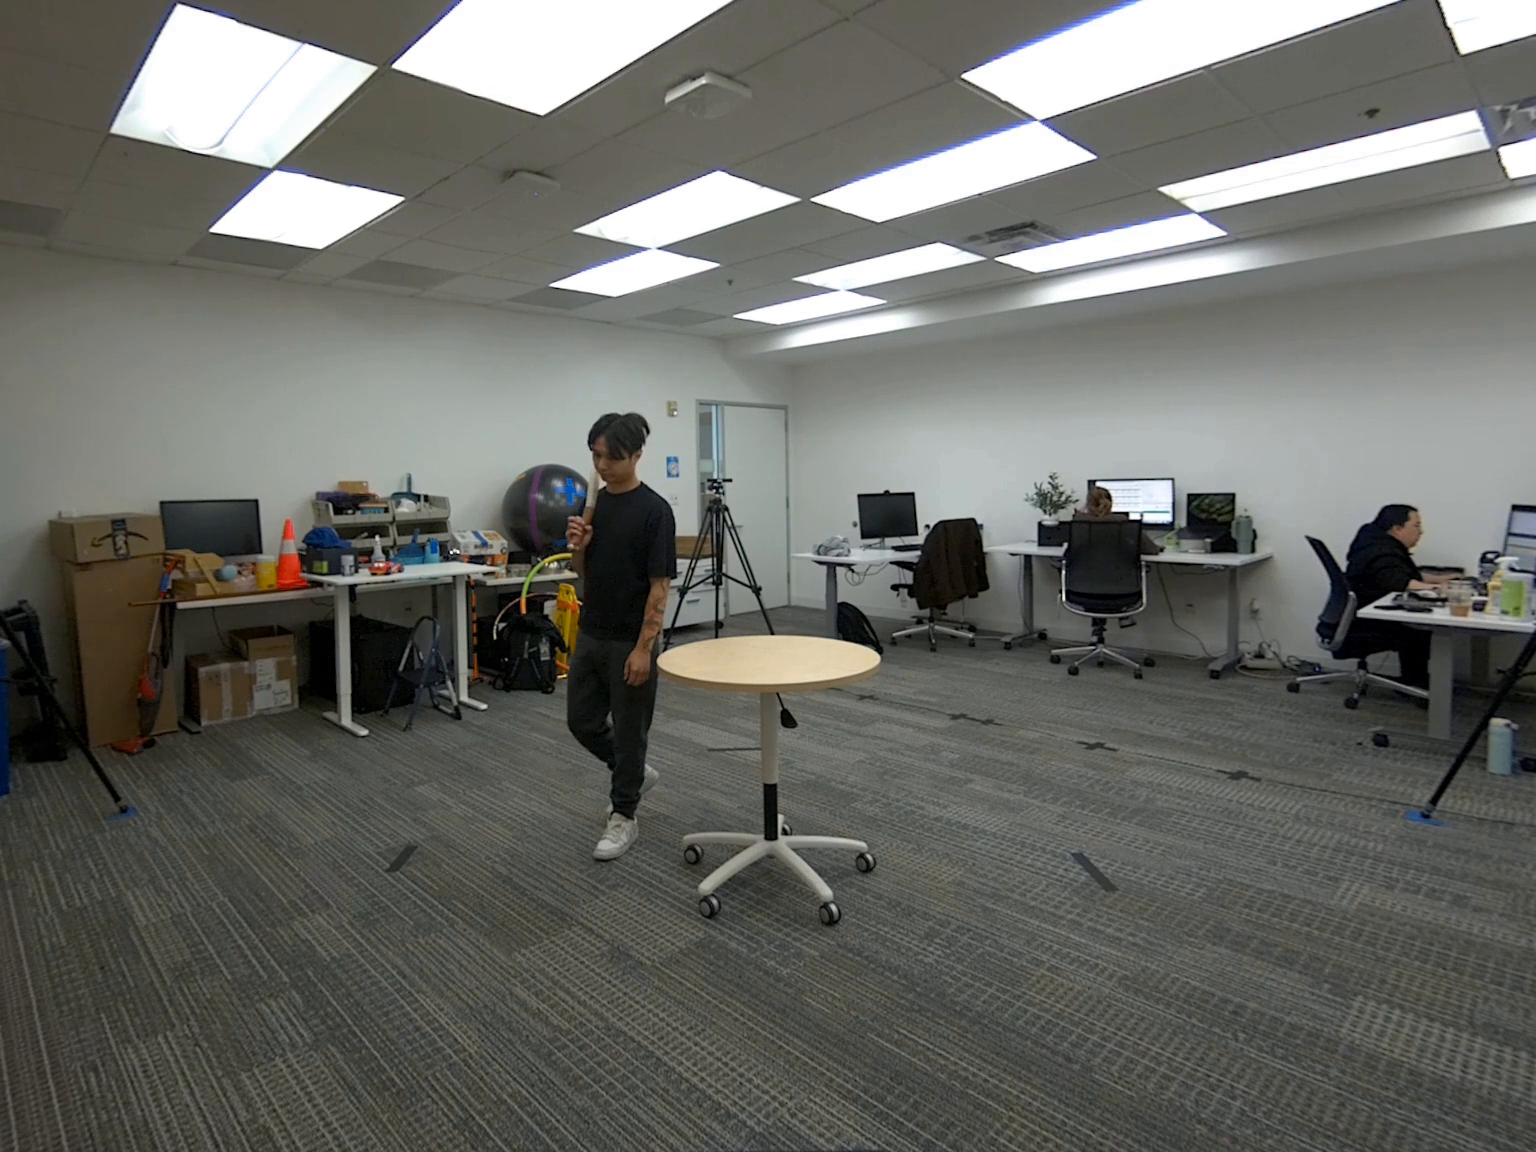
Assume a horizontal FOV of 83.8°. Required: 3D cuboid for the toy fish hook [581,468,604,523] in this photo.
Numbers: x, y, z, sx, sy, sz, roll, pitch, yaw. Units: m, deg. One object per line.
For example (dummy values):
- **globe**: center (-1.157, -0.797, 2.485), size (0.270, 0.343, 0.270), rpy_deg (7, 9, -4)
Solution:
- **toy fish hook**: center (-0.632, -0.276, 3.317), size (0.049, 0.514, 0.217), rpy_deg (-16, -43, 41)
